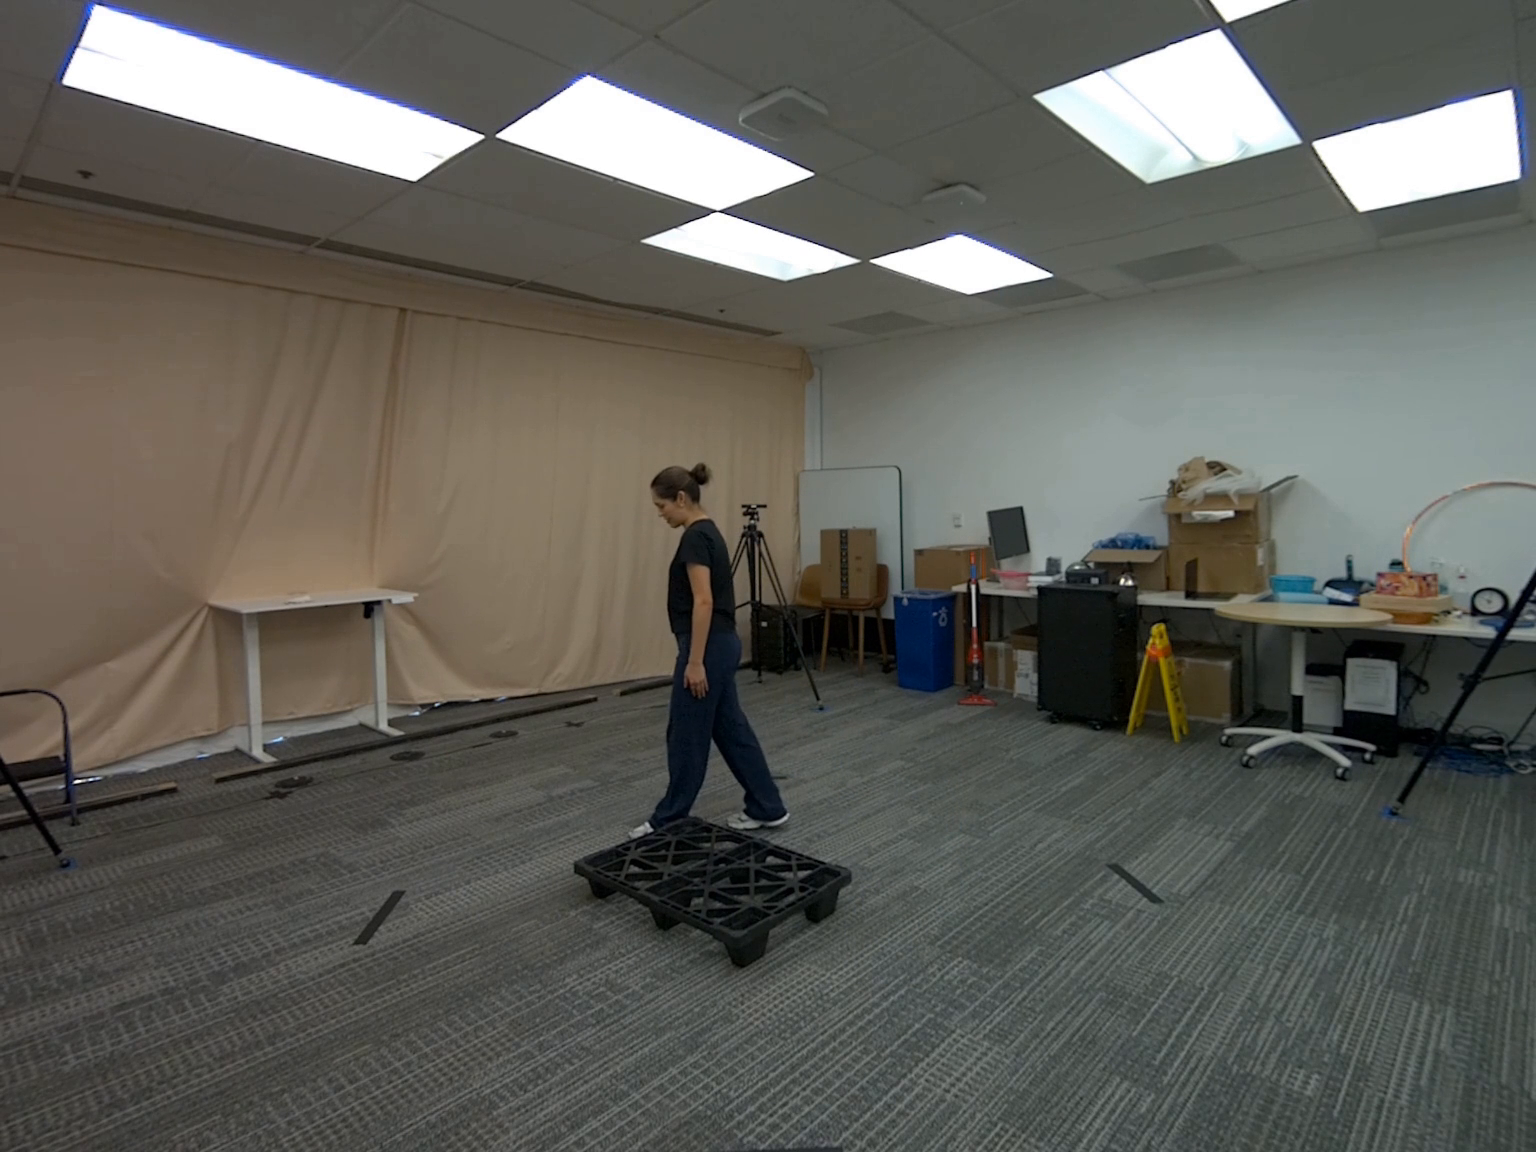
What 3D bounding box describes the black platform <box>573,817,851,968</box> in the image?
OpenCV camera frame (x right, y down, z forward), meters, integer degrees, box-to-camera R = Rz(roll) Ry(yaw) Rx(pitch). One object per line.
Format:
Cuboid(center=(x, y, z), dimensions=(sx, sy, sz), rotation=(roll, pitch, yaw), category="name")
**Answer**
Cuboid(center=(-0.190, 1.083, 2.937), dimensions=(0.832, 0.143, 0.587), rotation=(3, 7, 42), category="black platform")
